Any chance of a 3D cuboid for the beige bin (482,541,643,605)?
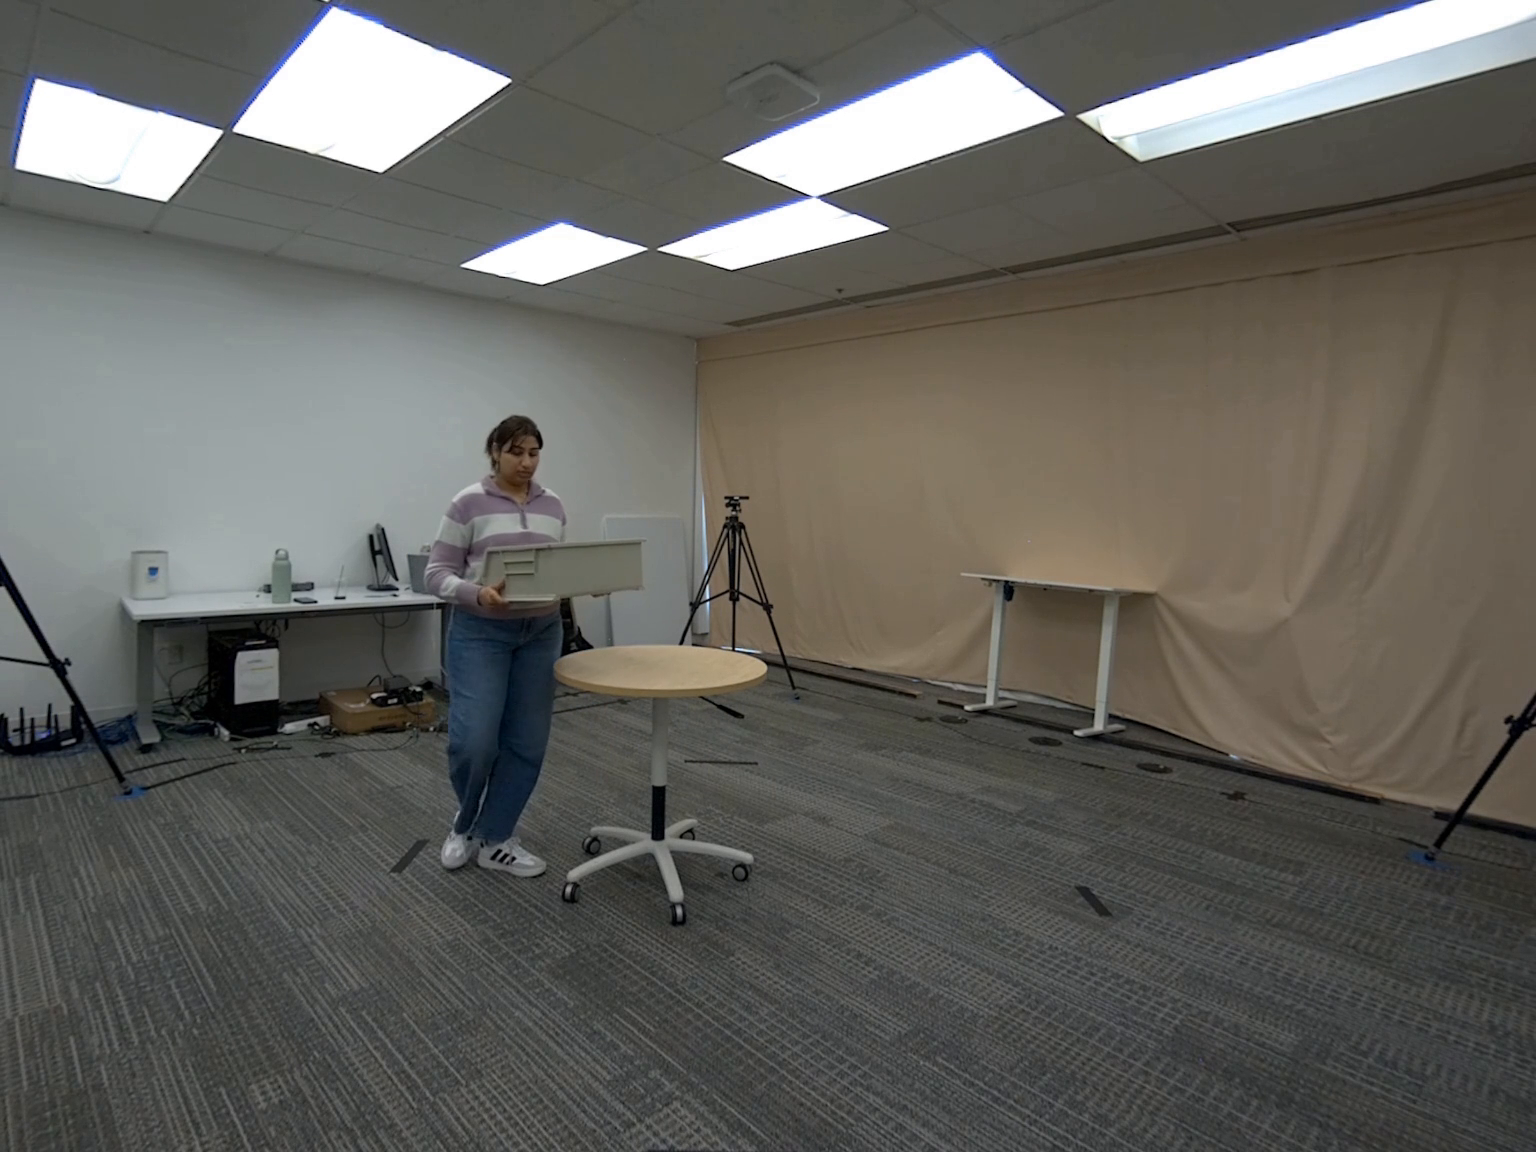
[{"bbox_3d":[-0.705,-0.019,2.881,0.386,0.188,0.414,2,5,34],"label":"beige bin"}]
